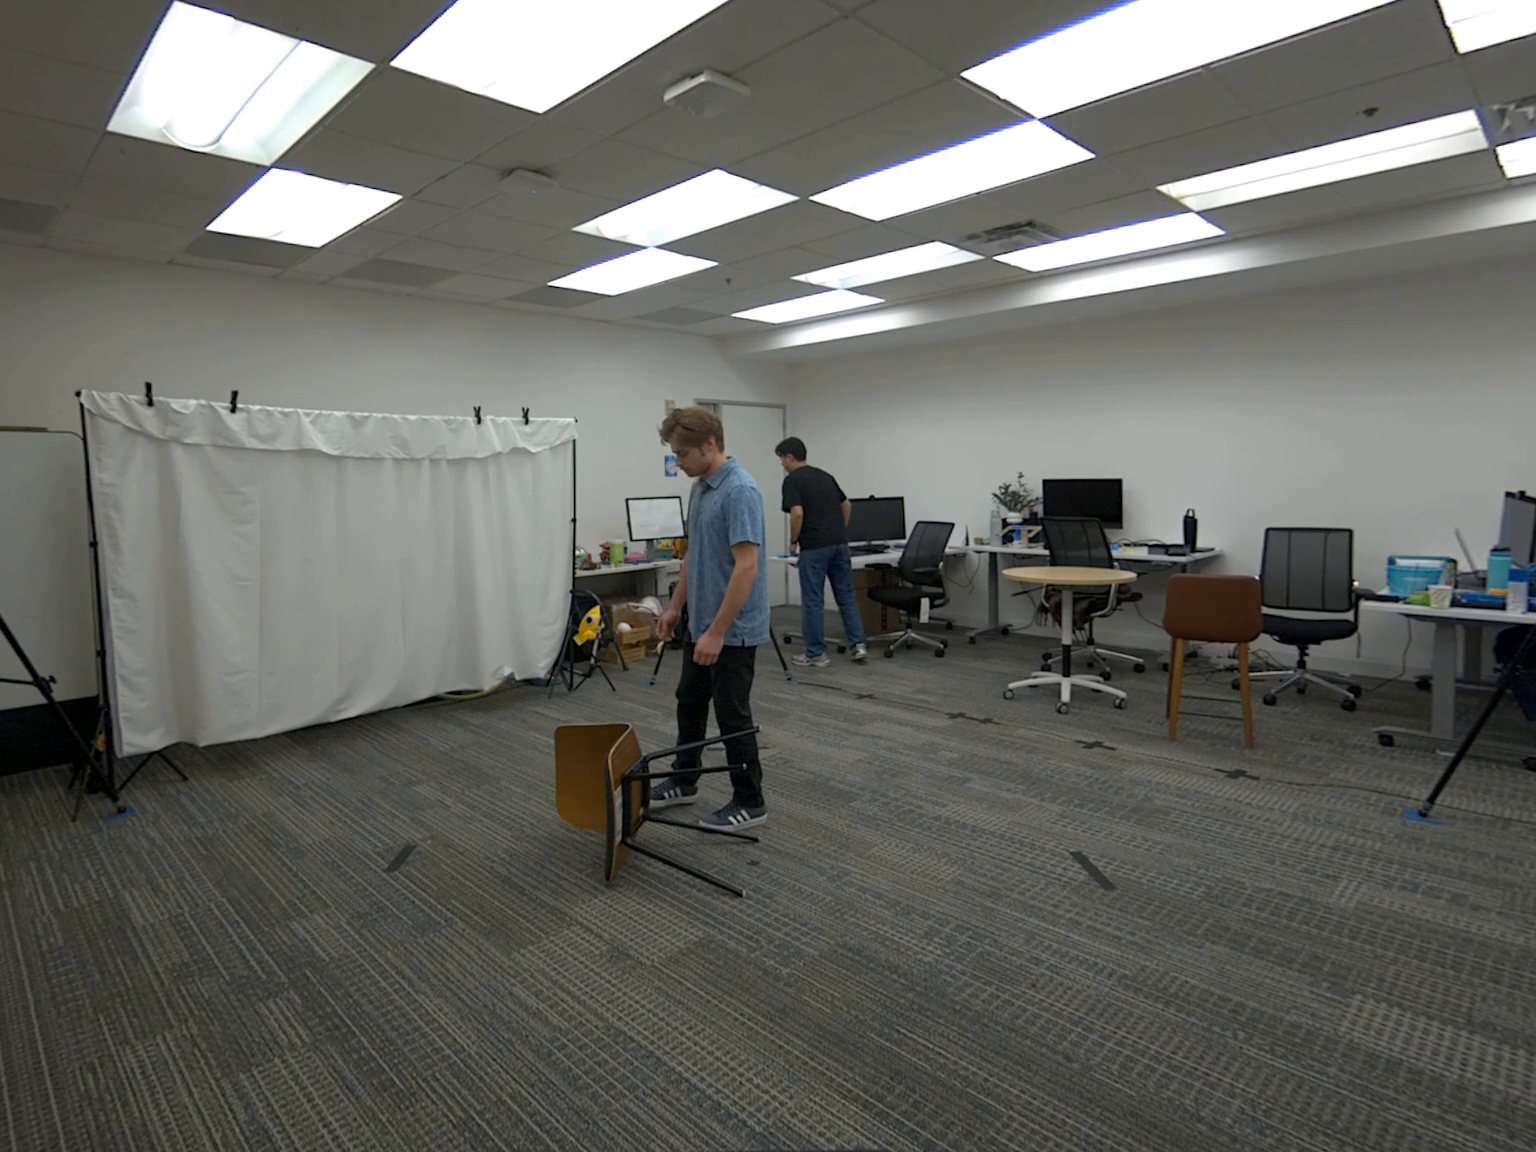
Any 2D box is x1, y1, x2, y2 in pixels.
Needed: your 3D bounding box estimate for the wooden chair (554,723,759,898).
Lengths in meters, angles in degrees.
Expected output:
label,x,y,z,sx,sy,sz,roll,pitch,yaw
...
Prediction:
label,x,y,z,sx,sy,sz,roll,pitch,yaw
wooden chair,-0.488,0.819,3.113,0.889,0.476,0.519,1,6,13
